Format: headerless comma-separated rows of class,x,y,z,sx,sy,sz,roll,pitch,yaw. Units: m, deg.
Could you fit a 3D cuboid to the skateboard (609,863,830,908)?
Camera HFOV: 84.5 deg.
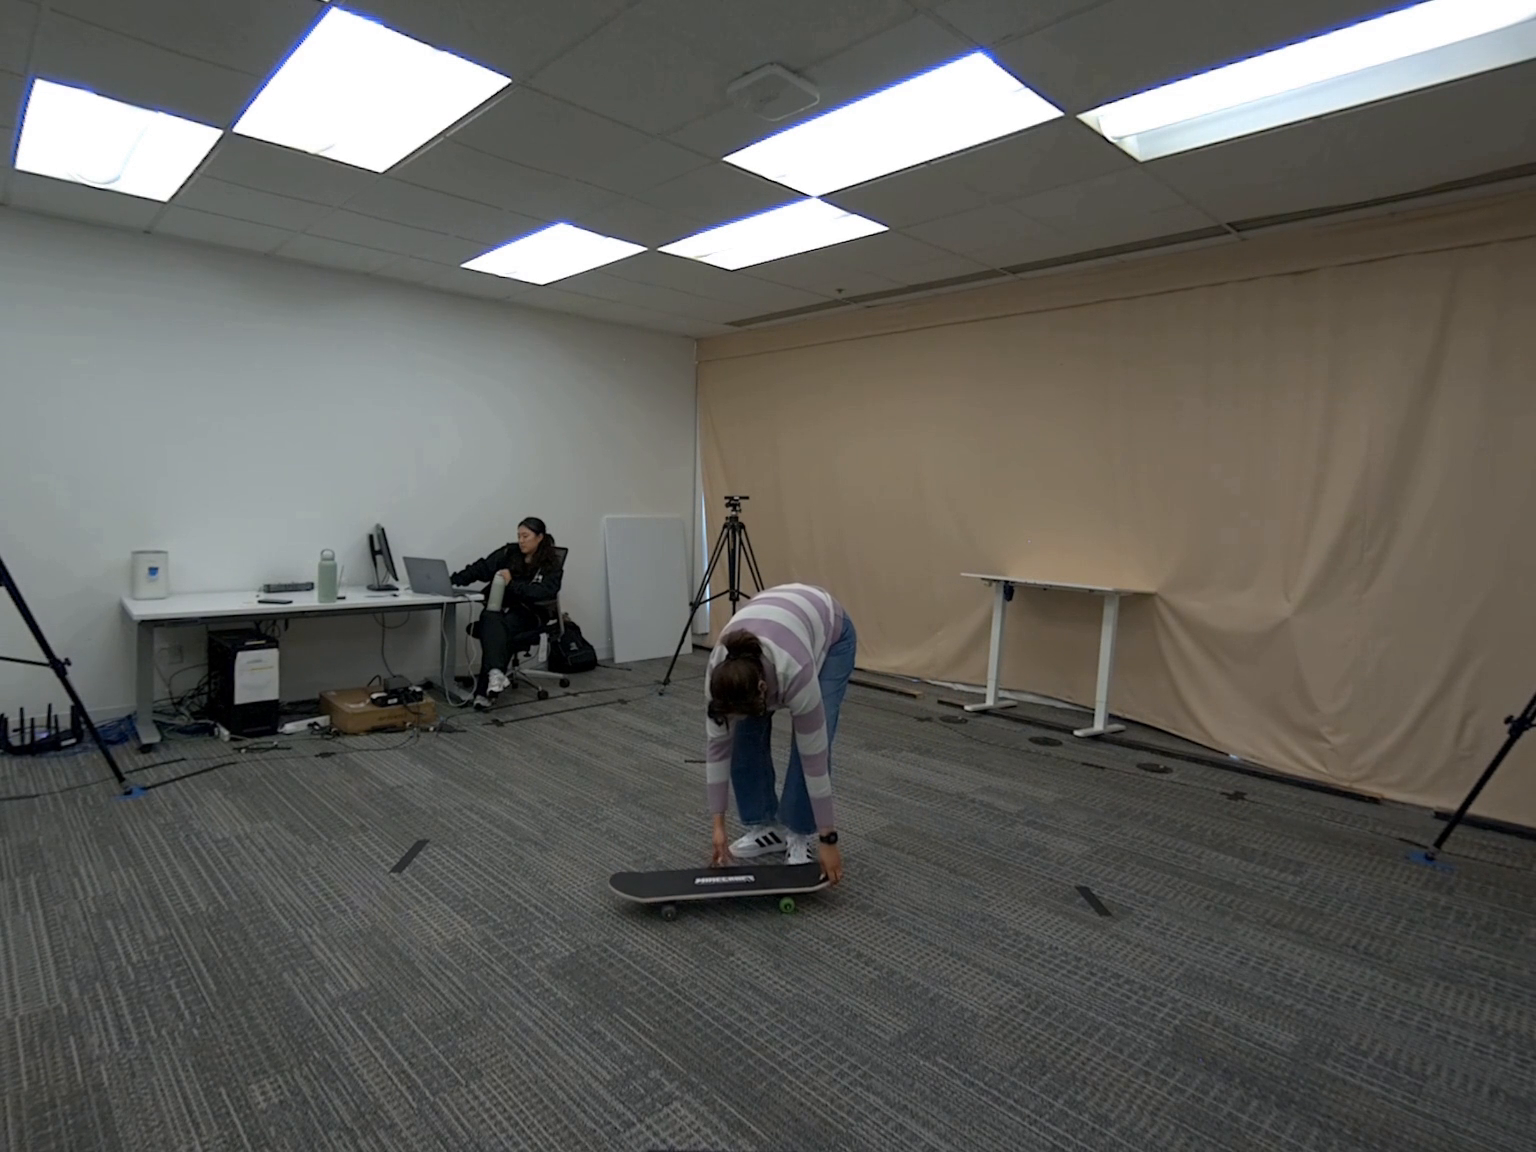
skateboard,-0.135,1.057,2.862,0.780,0.110,0.195,0,5,-9
